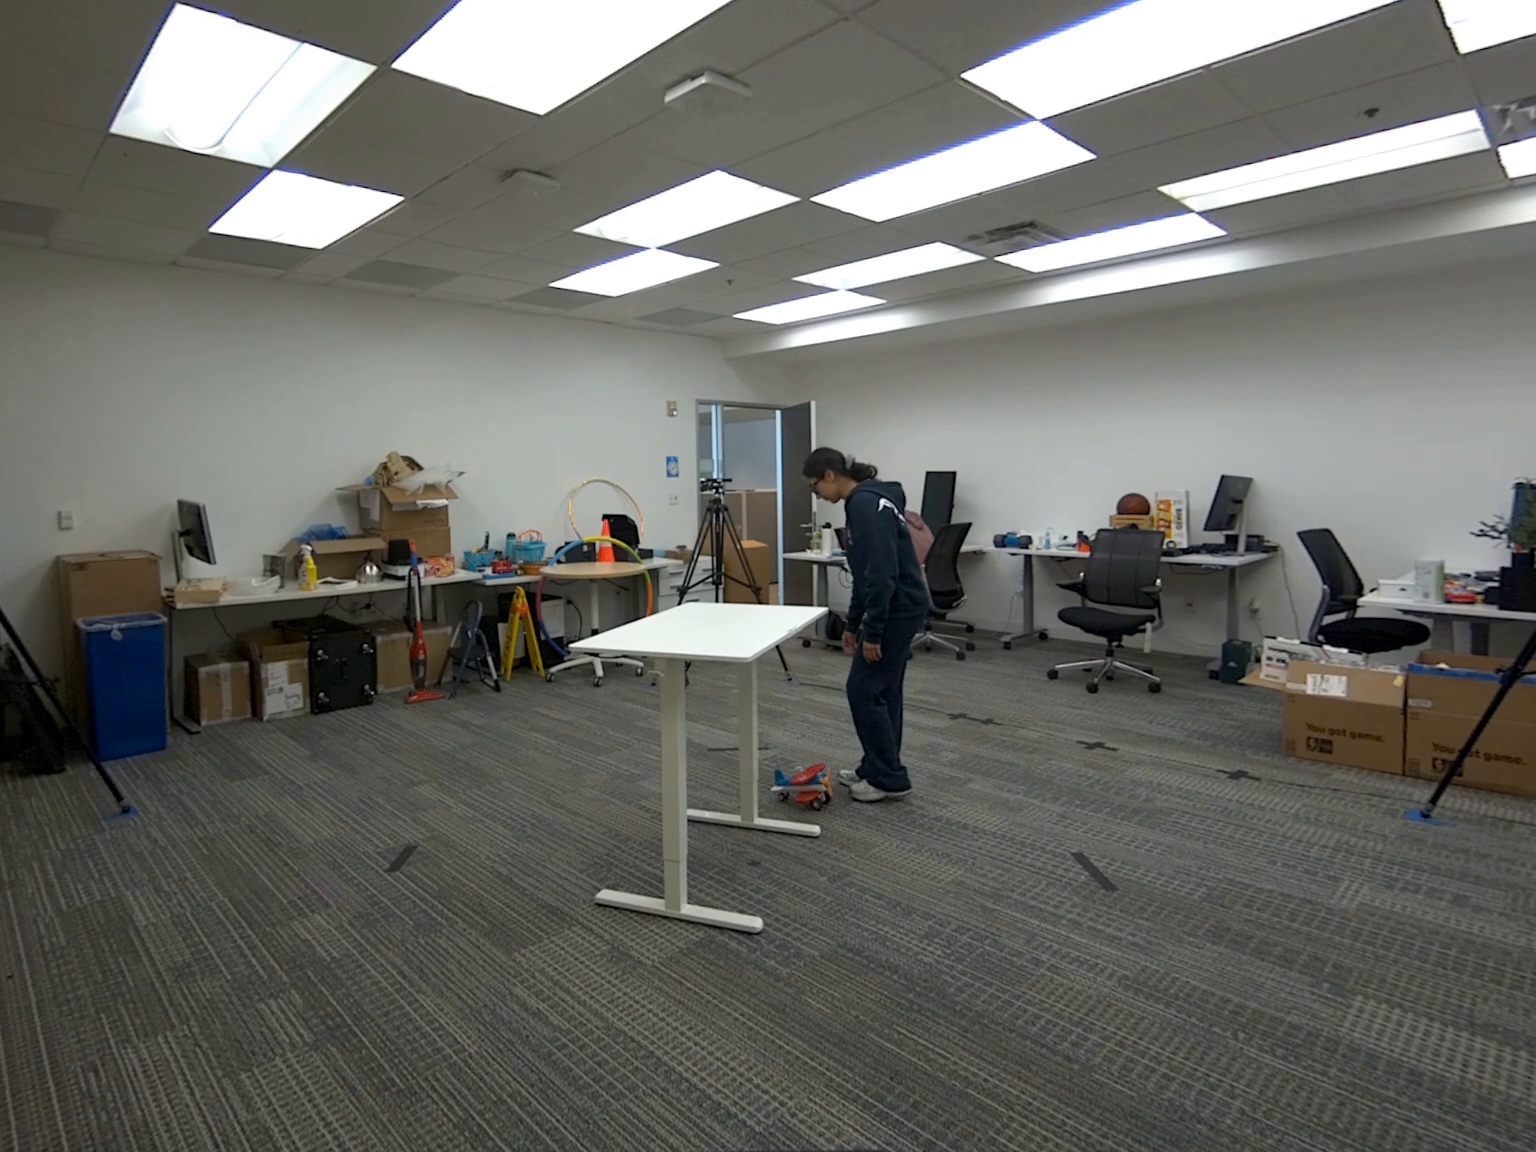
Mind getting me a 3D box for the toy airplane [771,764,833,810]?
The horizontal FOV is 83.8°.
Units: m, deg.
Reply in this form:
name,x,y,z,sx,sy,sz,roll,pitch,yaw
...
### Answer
name,x,y,z,sx,sy,sz,roll,pitch,yaw
toy airplane,0.144,0.909,3.640,0.260,0.156,0.252,0,6,1
